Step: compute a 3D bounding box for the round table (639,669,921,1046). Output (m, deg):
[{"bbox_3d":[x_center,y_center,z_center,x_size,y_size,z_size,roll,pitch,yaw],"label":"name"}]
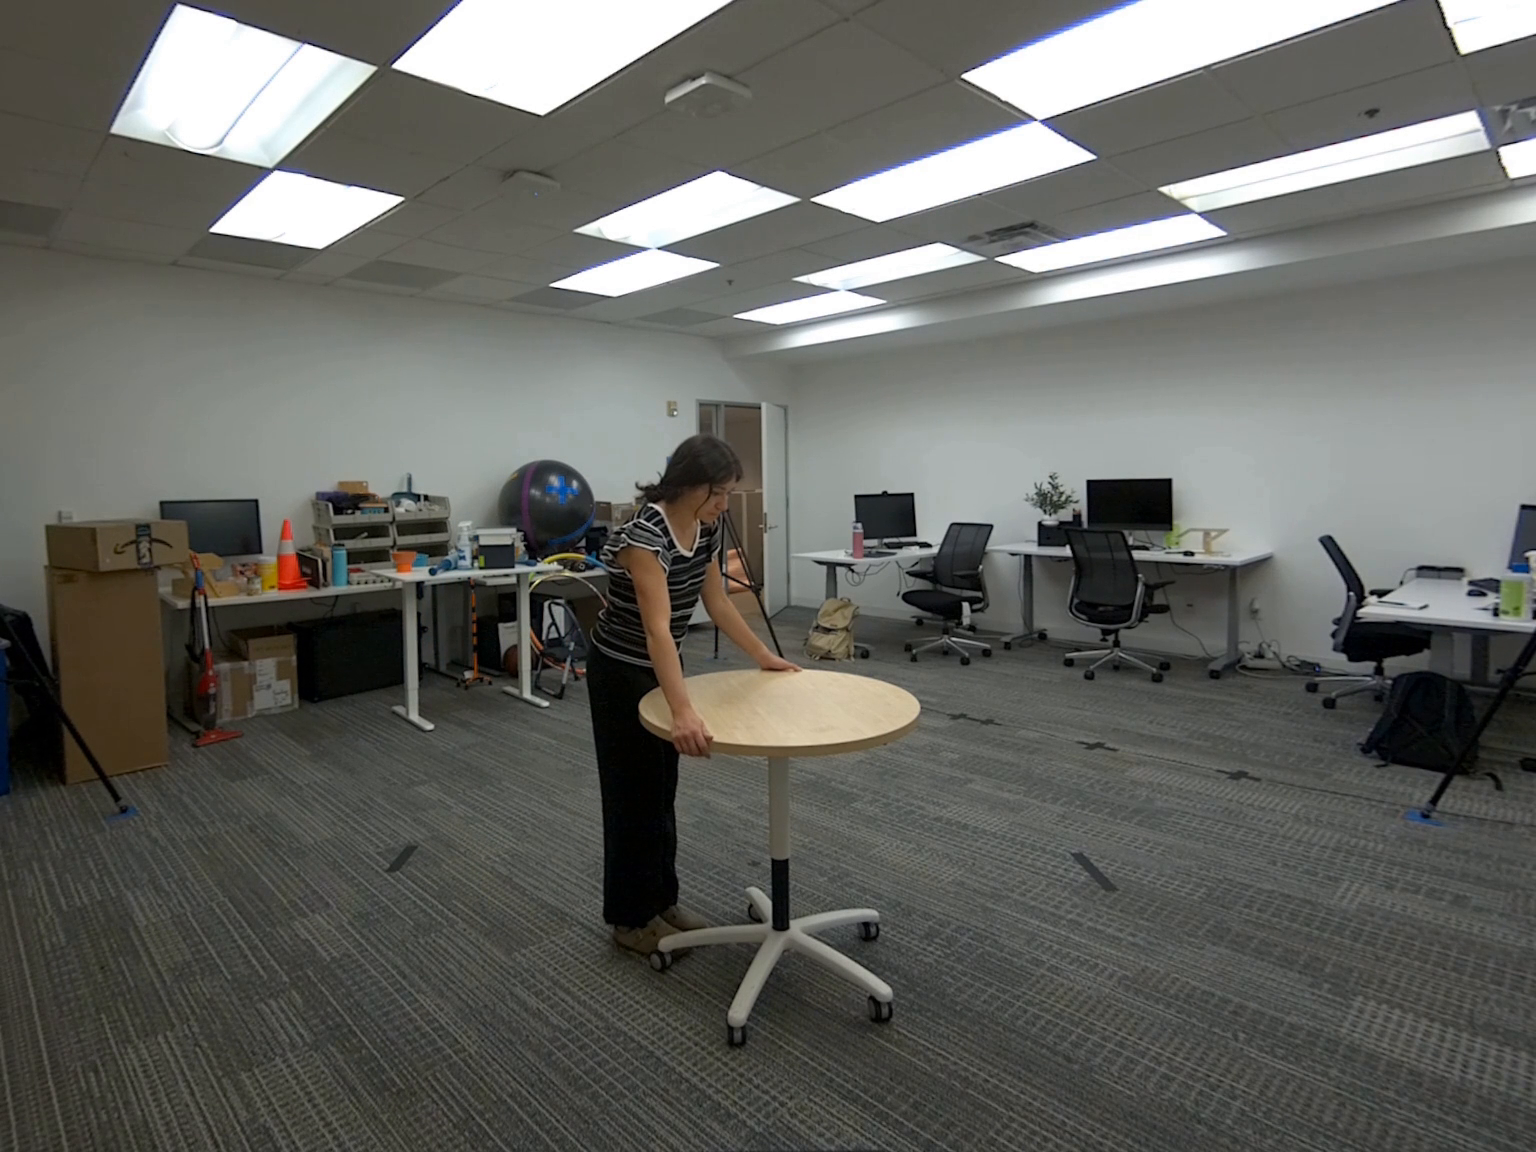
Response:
[{"bbox_3d":[0.049,0.737,2.380,0.763,0.790,0.768,-1,5,-2],"label":"round table"}]
